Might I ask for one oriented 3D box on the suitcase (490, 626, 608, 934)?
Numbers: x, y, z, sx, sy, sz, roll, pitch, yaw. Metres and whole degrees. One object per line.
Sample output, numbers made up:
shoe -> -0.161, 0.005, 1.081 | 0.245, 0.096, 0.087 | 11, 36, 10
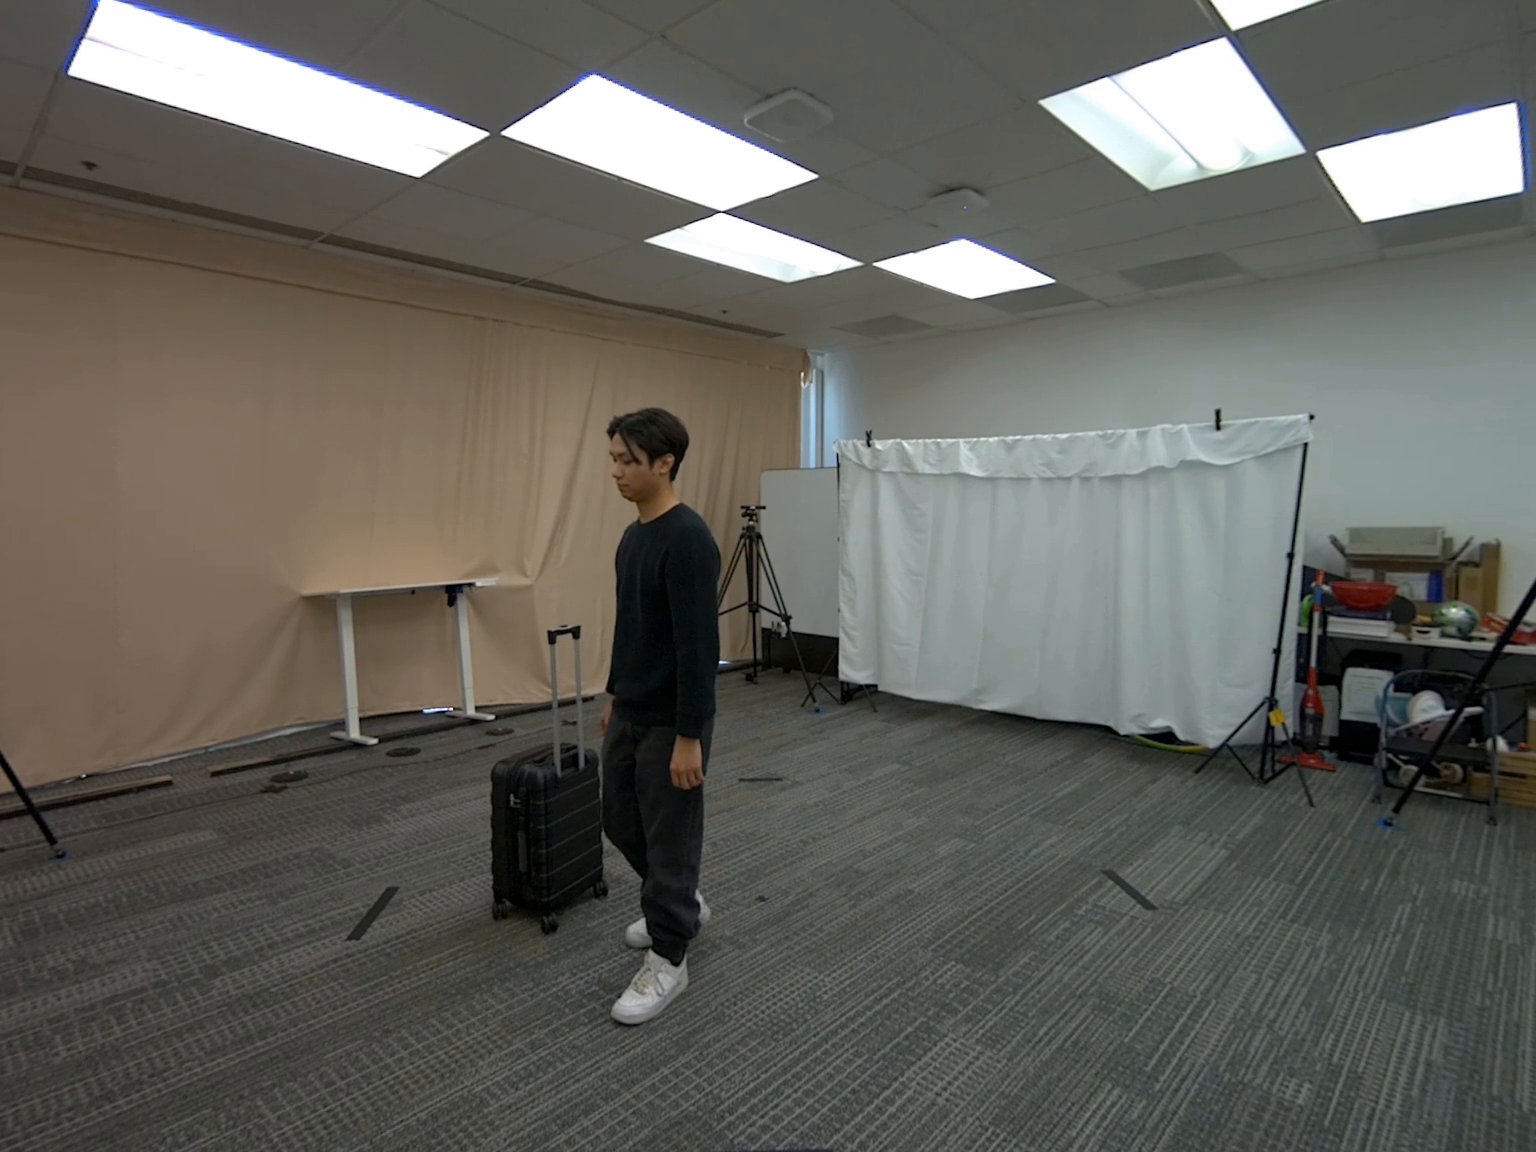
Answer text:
suitcase -> -0.781, 0.675, 2.943 | 0.264, 0.978, 0.374 | -2, 1, 27
